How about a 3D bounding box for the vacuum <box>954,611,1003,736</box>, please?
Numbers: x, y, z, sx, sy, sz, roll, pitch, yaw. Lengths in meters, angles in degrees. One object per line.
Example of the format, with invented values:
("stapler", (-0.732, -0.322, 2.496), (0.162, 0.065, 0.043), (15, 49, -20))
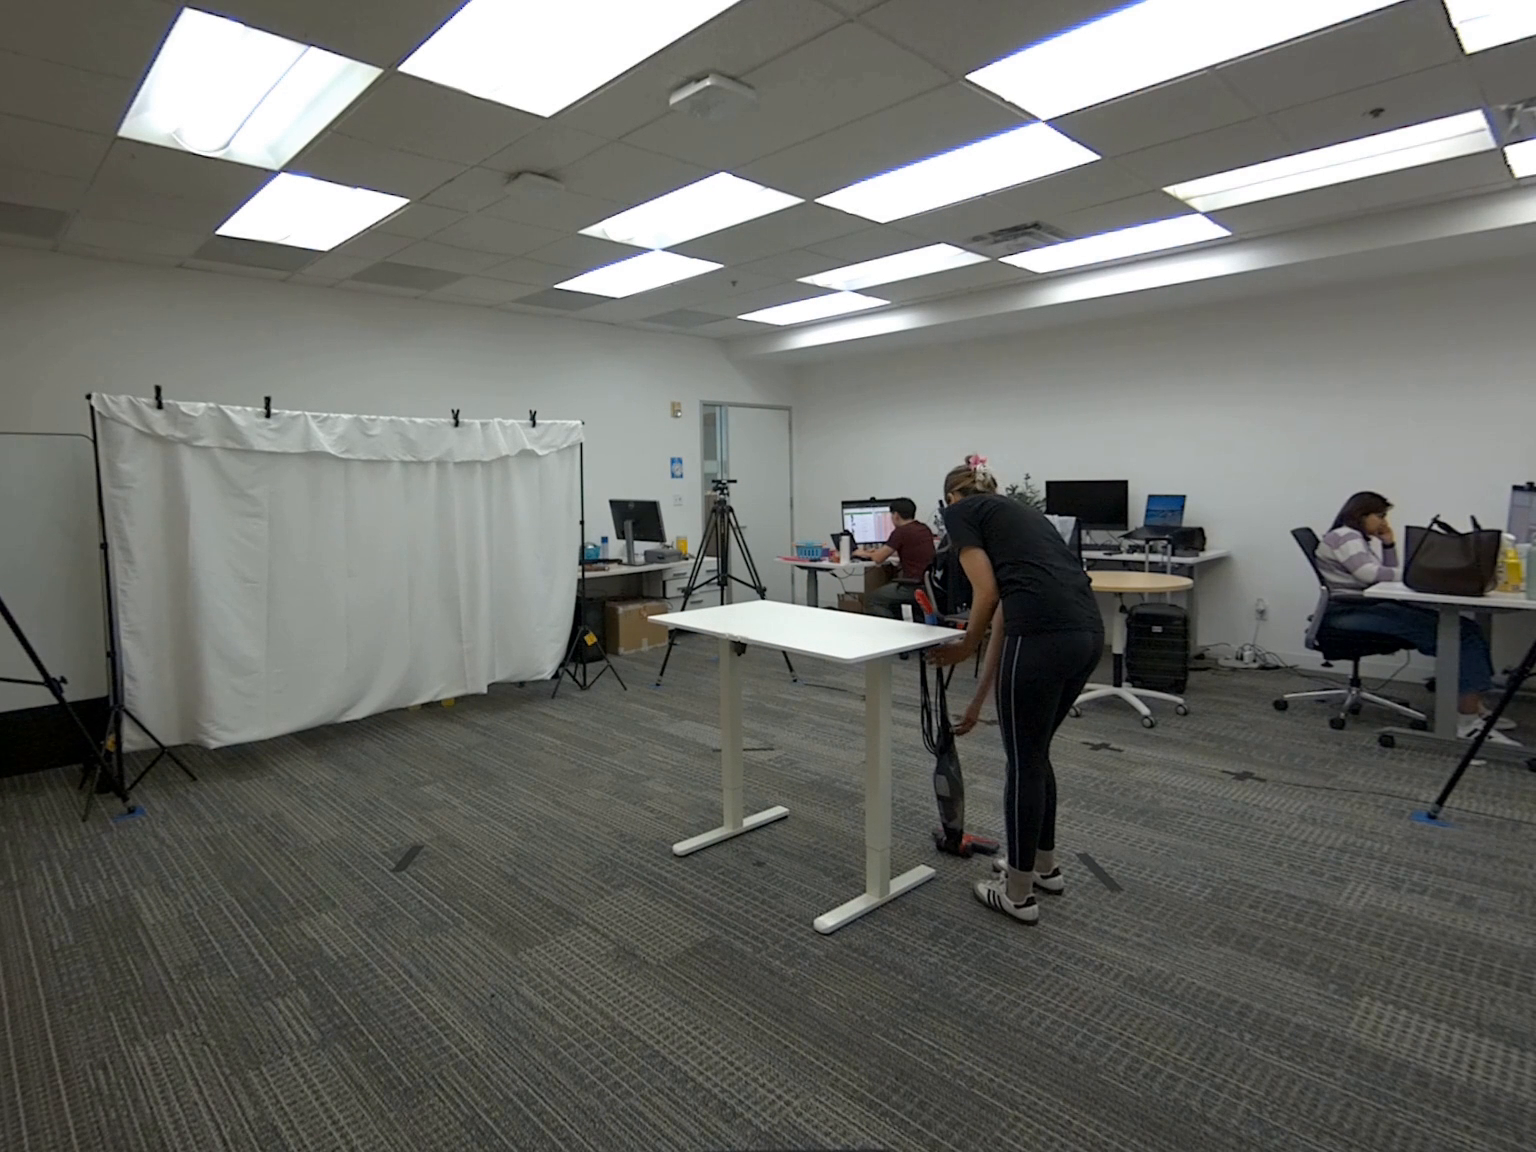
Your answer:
("vacuum", (0.657, 0.542, 3.064), (0.261, 1.032, 0.141), (8, 22, 43))
